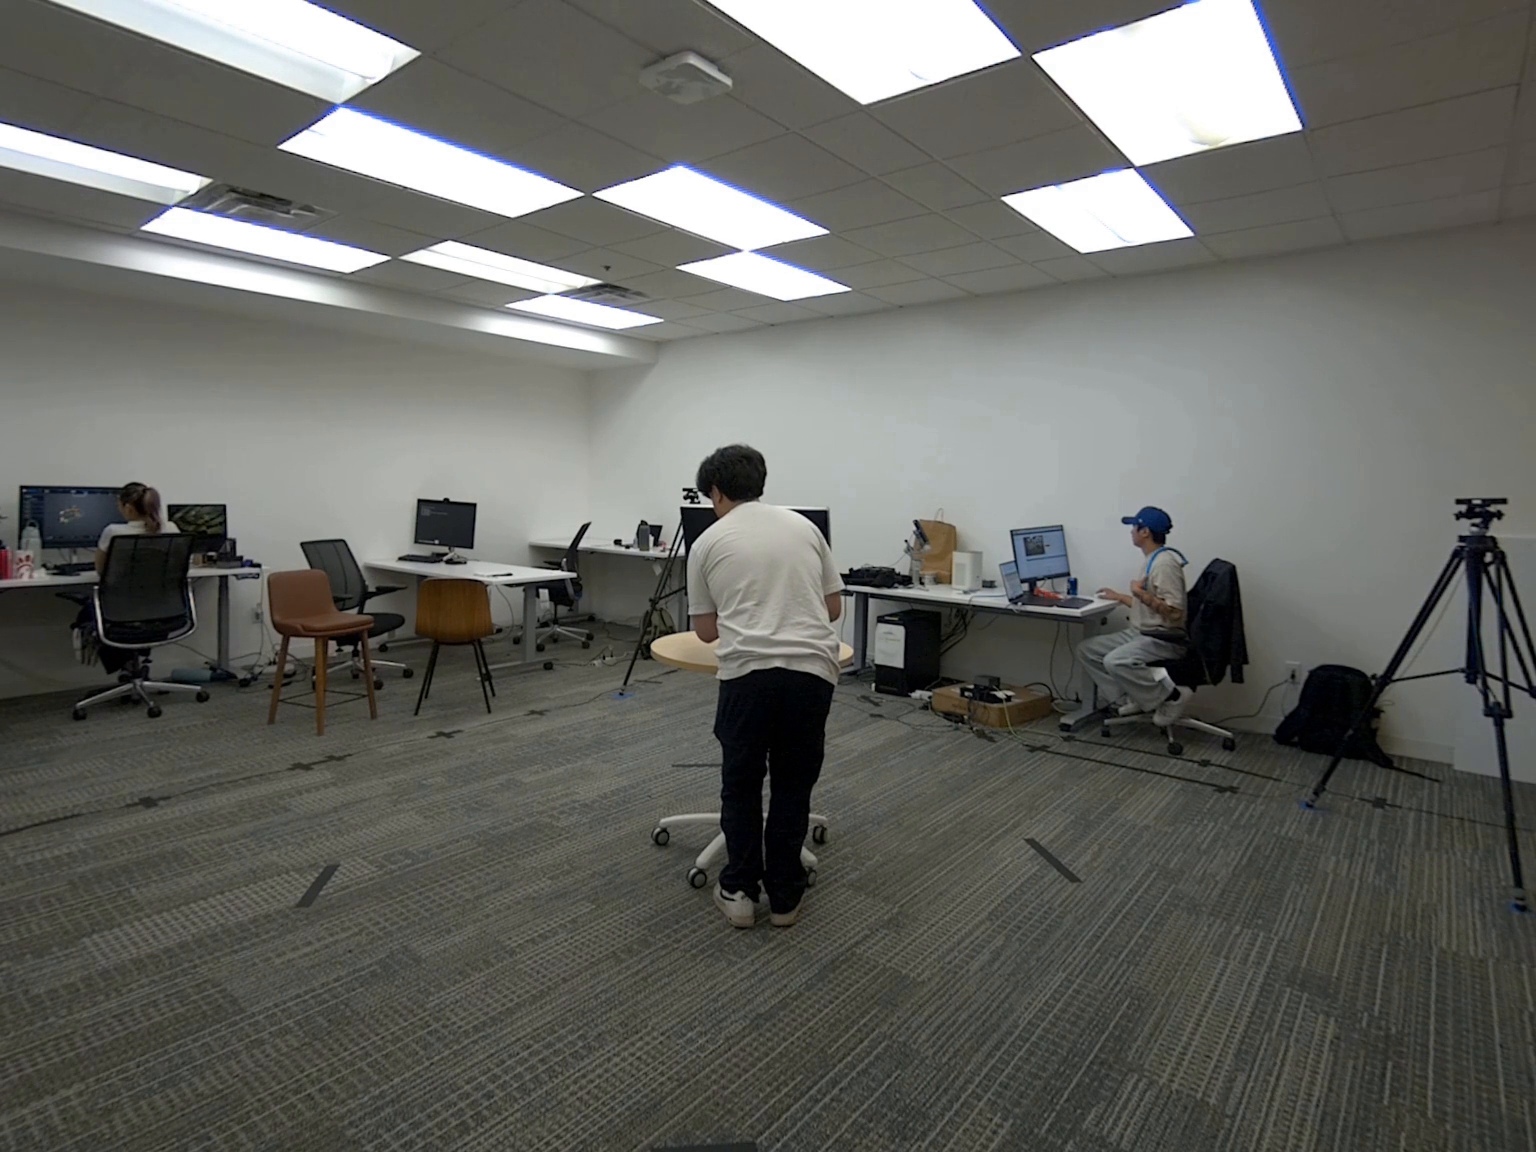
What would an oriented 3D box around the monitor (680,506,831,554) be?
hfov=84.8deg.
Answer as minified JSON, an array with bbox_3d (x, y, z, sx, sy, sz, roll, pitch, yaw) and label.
[{"bbox_3d":[-0.066,0.015,3.116,0.576,0.544,0.210,3,19,17],"label":"monitor"}]
